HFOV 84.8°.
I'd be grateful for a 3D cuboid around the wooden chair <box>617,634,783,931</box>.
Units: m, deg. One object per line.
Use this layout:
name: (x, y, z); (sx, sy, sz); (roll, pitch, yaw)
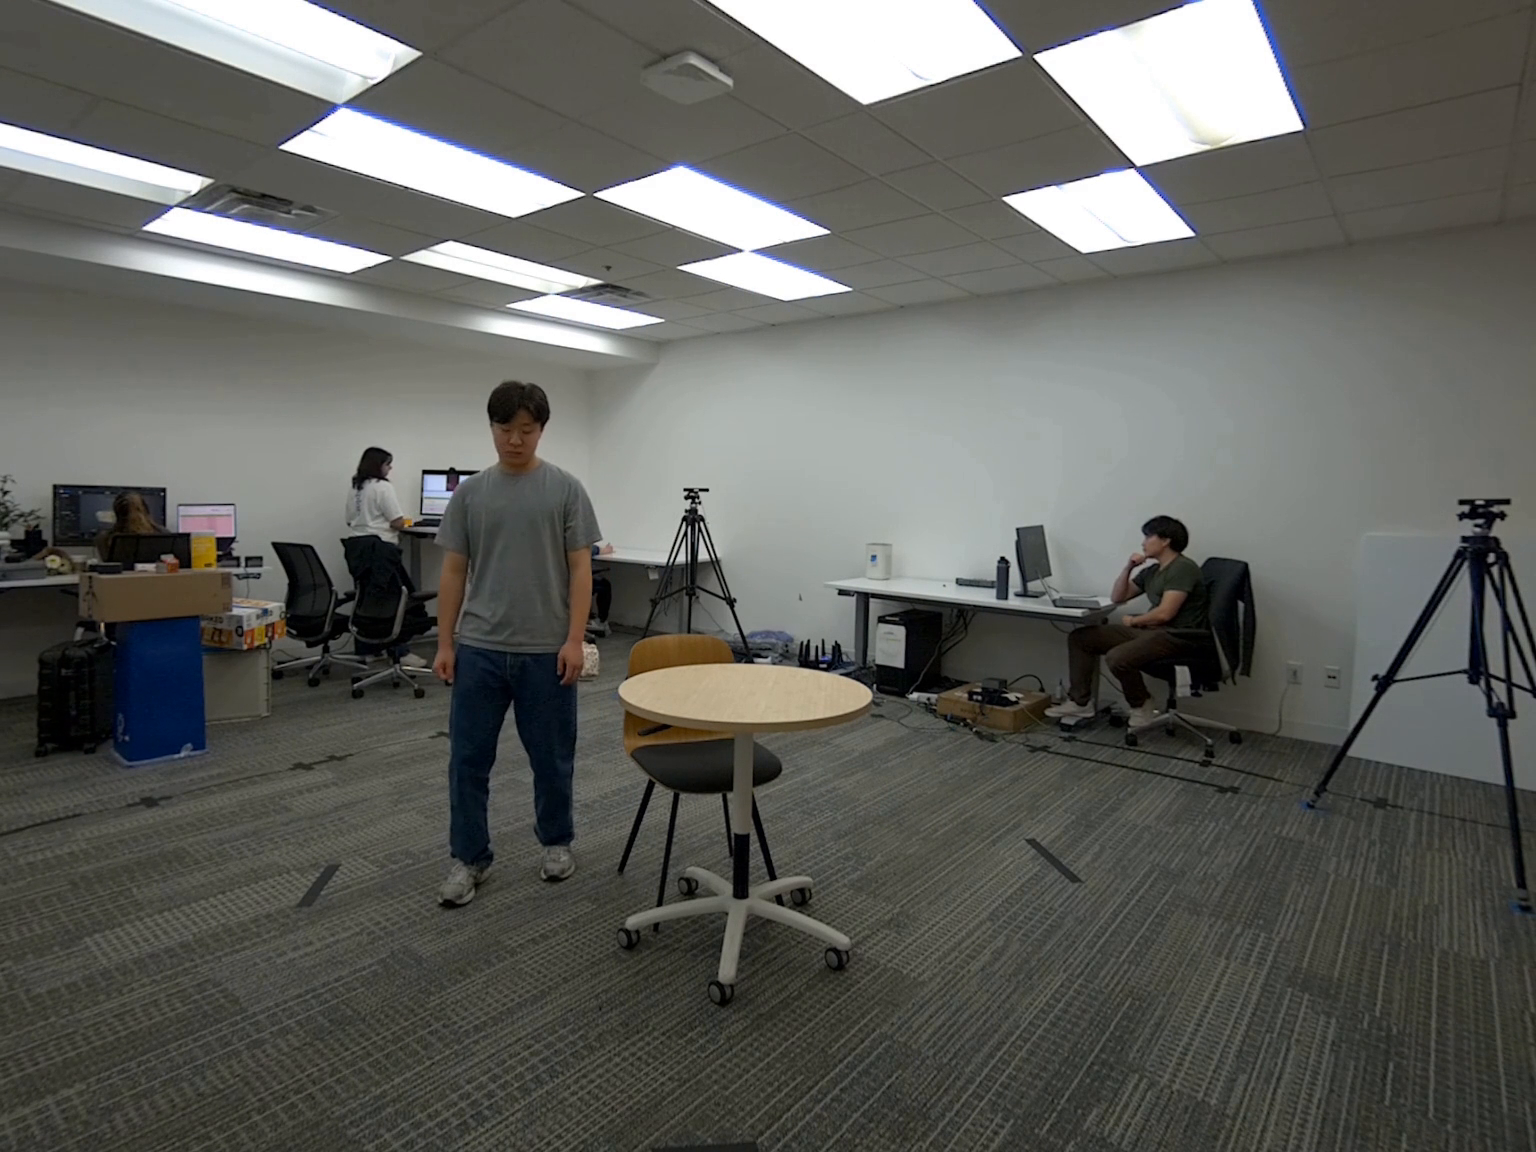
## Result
wooden chair: (-0.249, 0.661, 2.913); (0.467, 0.879, 0.534); (0, -1, -23)
